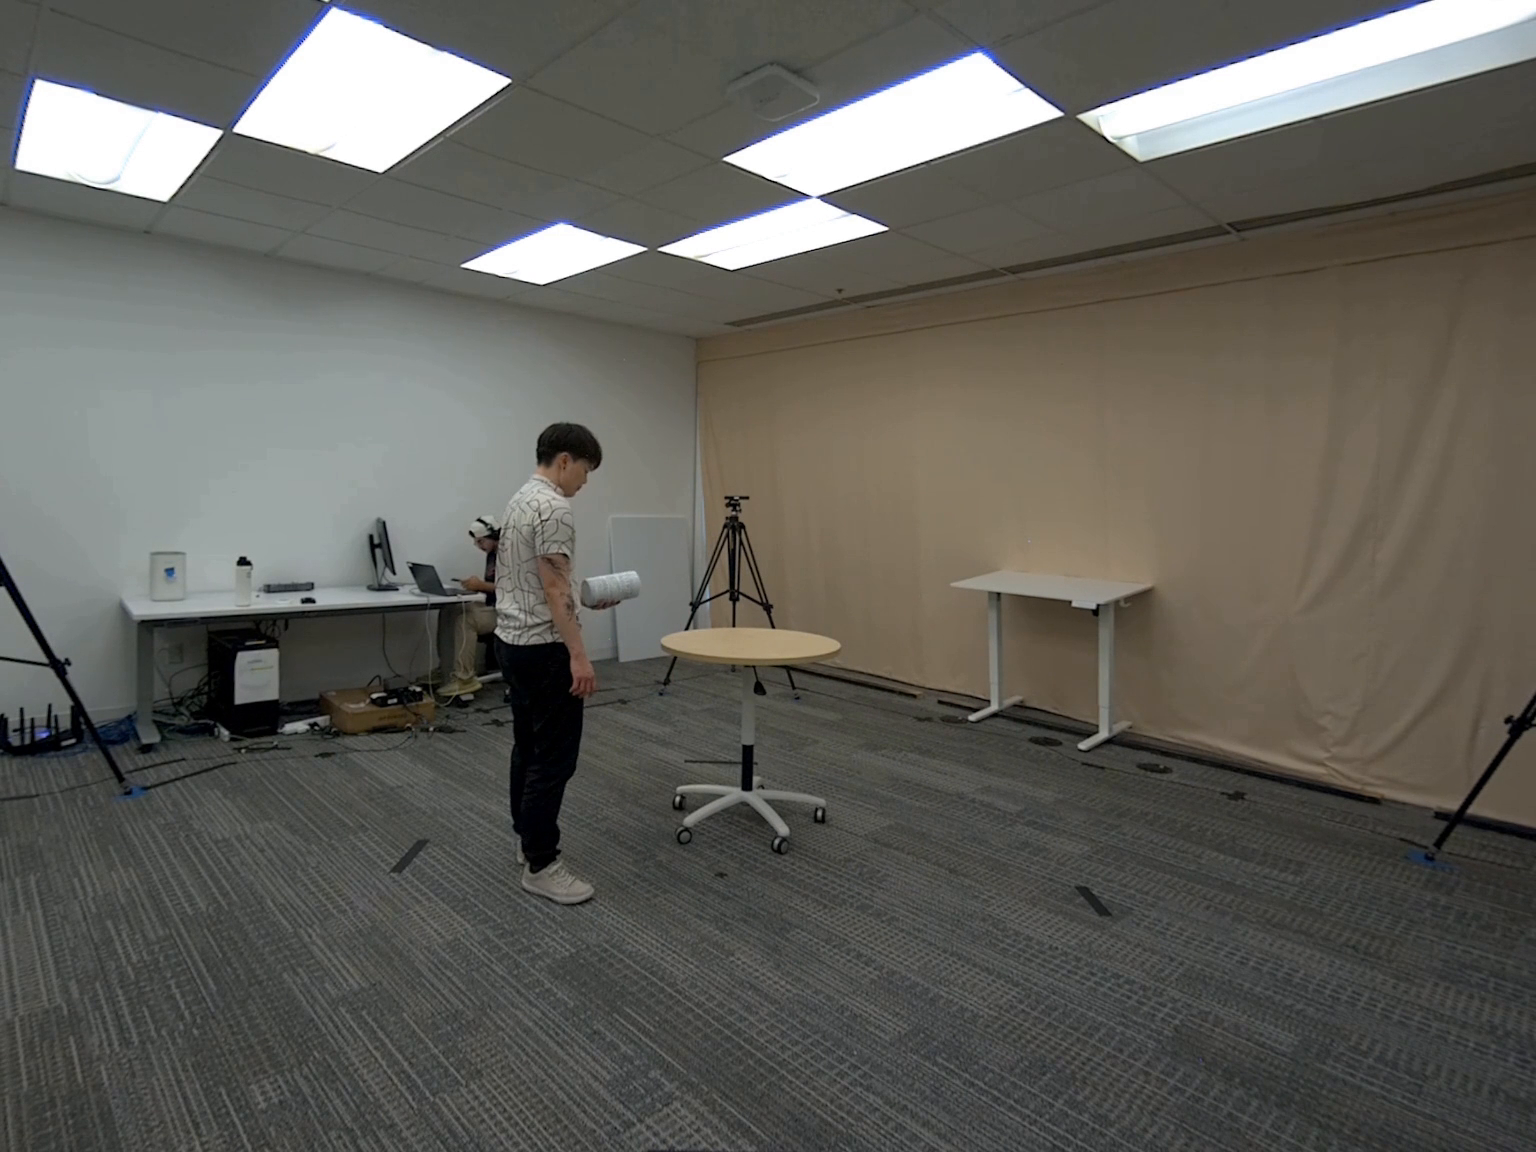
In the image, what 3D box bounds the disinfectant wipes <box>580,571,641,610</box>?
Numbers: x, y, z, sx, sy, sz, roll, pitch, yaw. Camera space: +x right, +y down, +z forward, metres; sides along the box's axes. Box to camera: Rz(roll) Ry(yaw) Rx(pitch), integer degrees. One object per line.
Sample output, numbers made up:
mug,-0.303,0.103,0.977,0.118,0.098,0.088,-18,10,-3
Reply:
disinfectant wipes,-0.628,0.049,3.306,0.214,0.117,0.120,-11,10,-30
